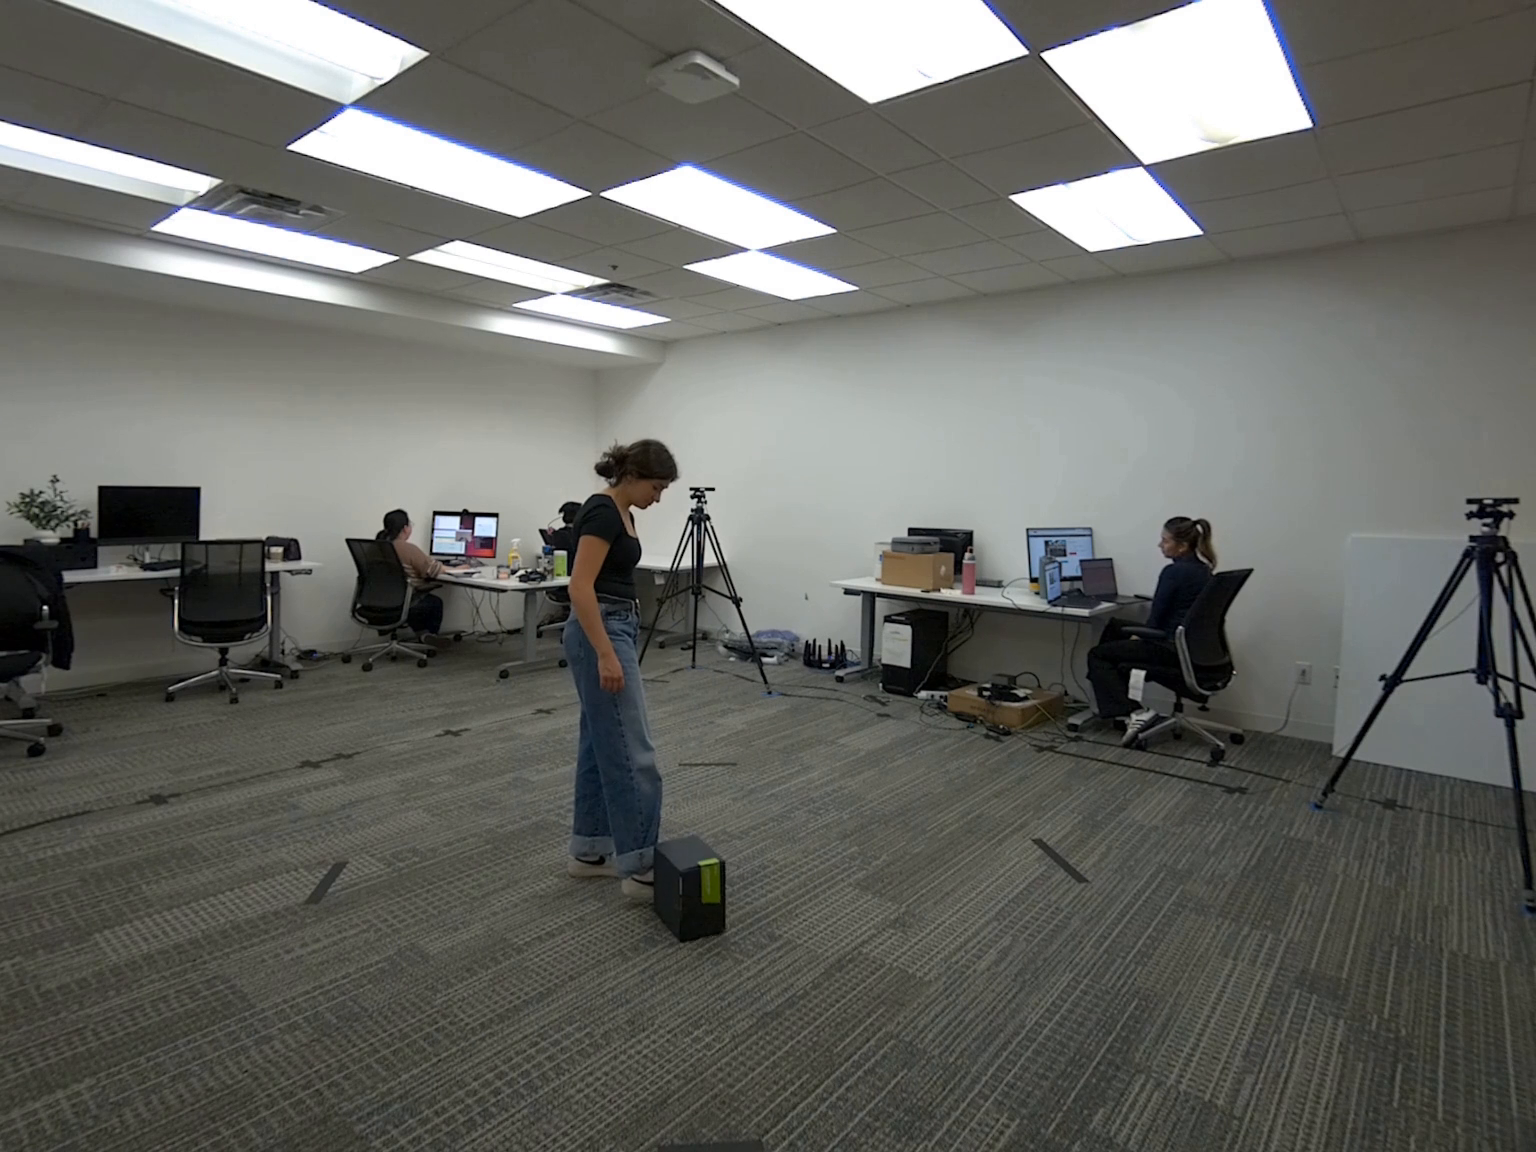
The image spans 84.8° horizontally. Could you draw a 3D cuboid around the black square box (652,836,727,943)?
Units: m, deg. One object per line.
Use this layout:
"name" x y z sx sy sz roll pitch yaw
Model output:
"black square box" -0.265 0.981 2.709 0.152 0.227 0.224 -2 6 -30
